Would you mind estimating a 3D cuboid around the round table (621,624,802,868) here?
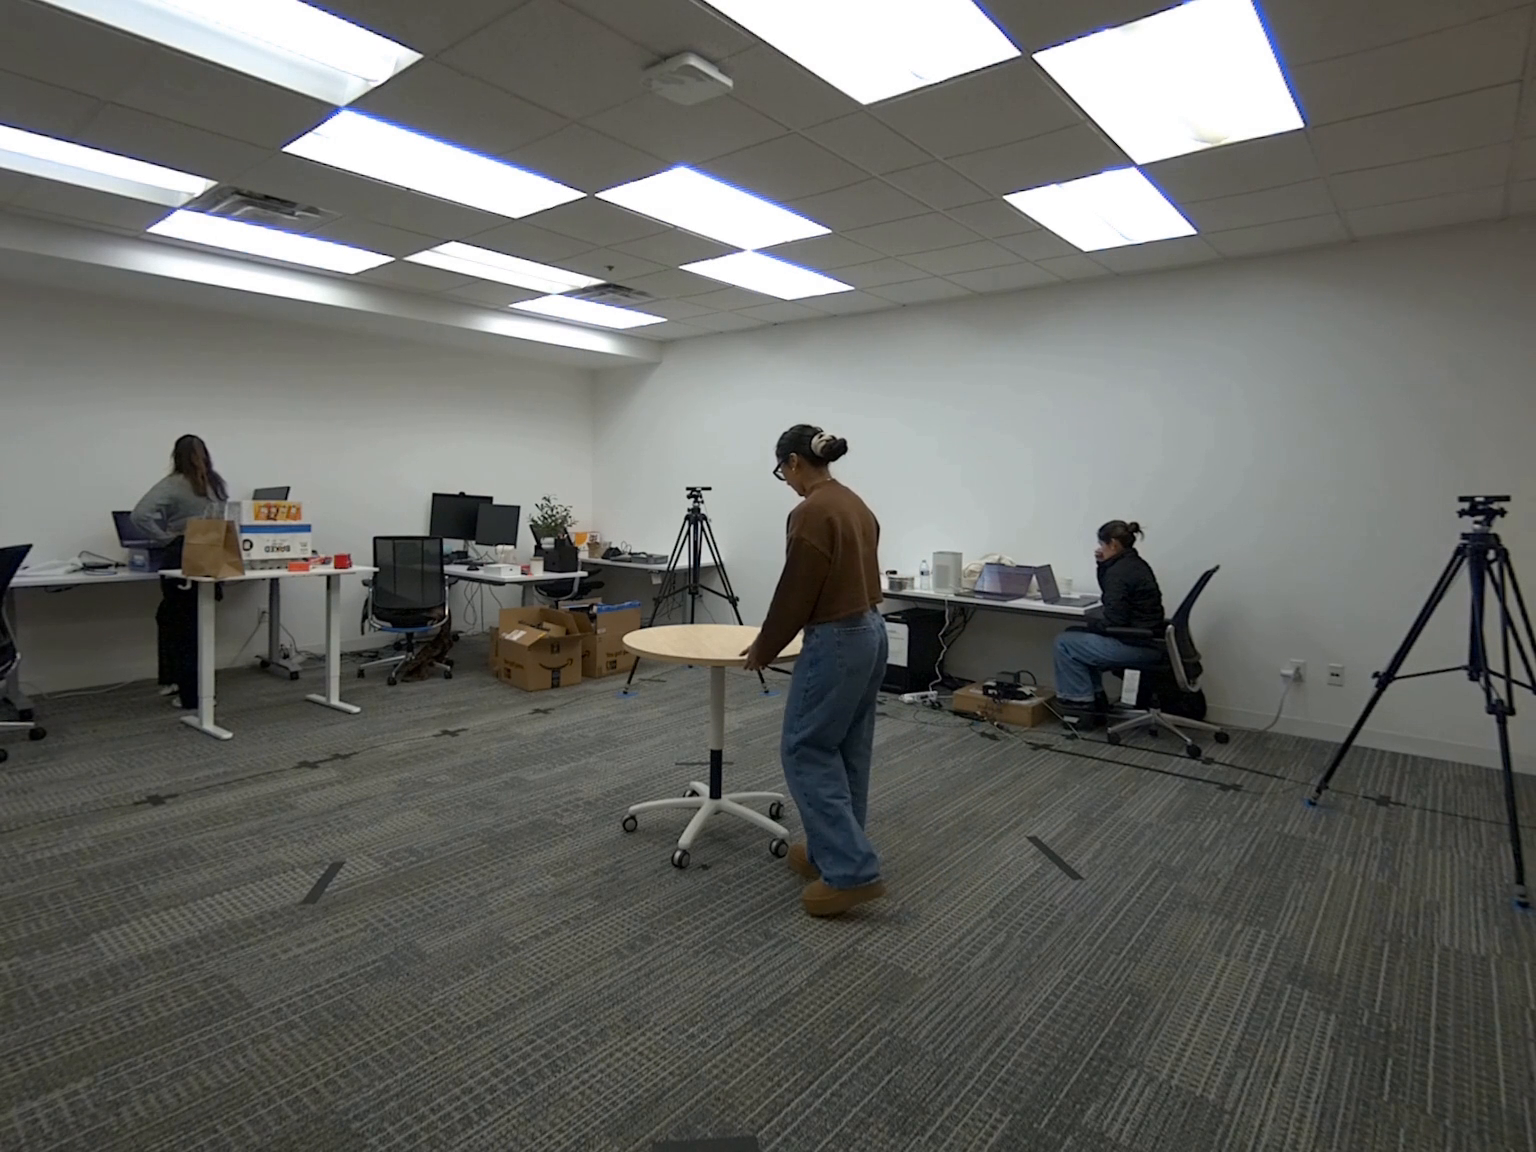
[{"bbox_3d":[-0.217,0.646,3.419,0.763,0.791,0.768,1,4,-2],"label":"round table"}]
